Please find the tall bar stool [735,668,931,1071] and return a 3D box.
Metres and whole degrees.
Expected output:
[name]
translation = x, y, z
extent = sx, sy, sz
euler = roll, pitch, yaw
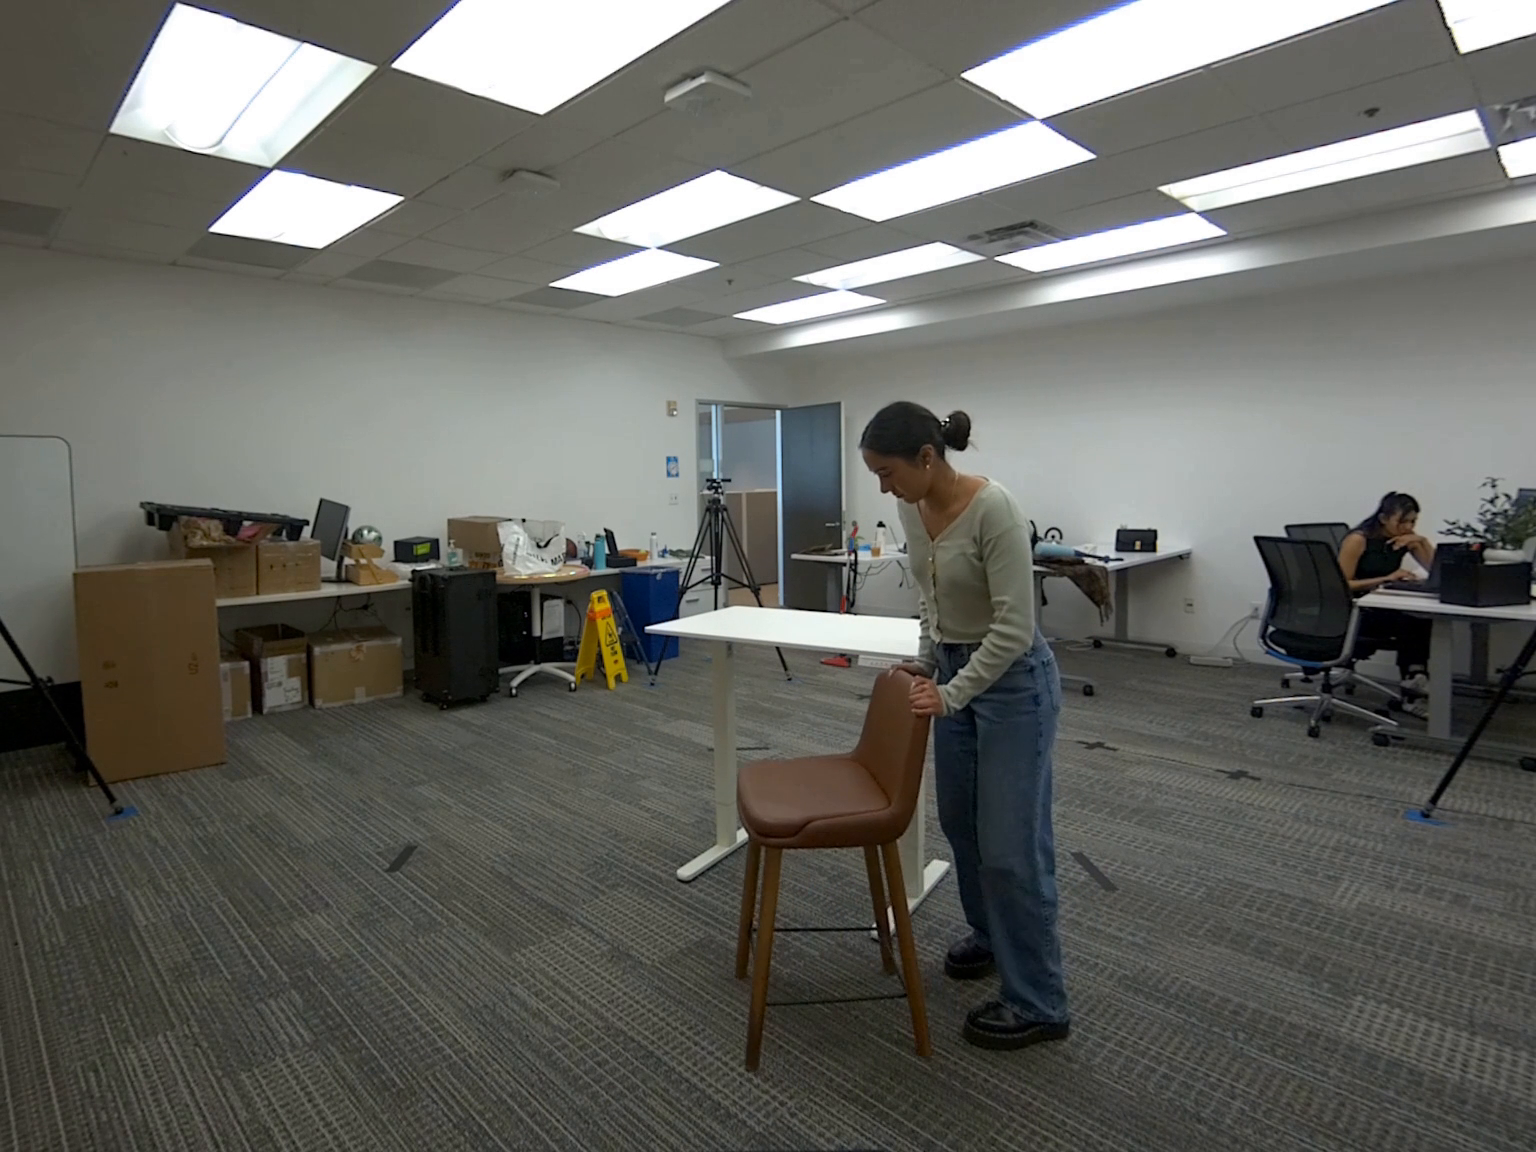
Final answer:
[tall bar stool]
translation = 0.166, 0.716, 2.187
extent = 0.466, 0.886, 0.460
euler = 1, 5, -5
